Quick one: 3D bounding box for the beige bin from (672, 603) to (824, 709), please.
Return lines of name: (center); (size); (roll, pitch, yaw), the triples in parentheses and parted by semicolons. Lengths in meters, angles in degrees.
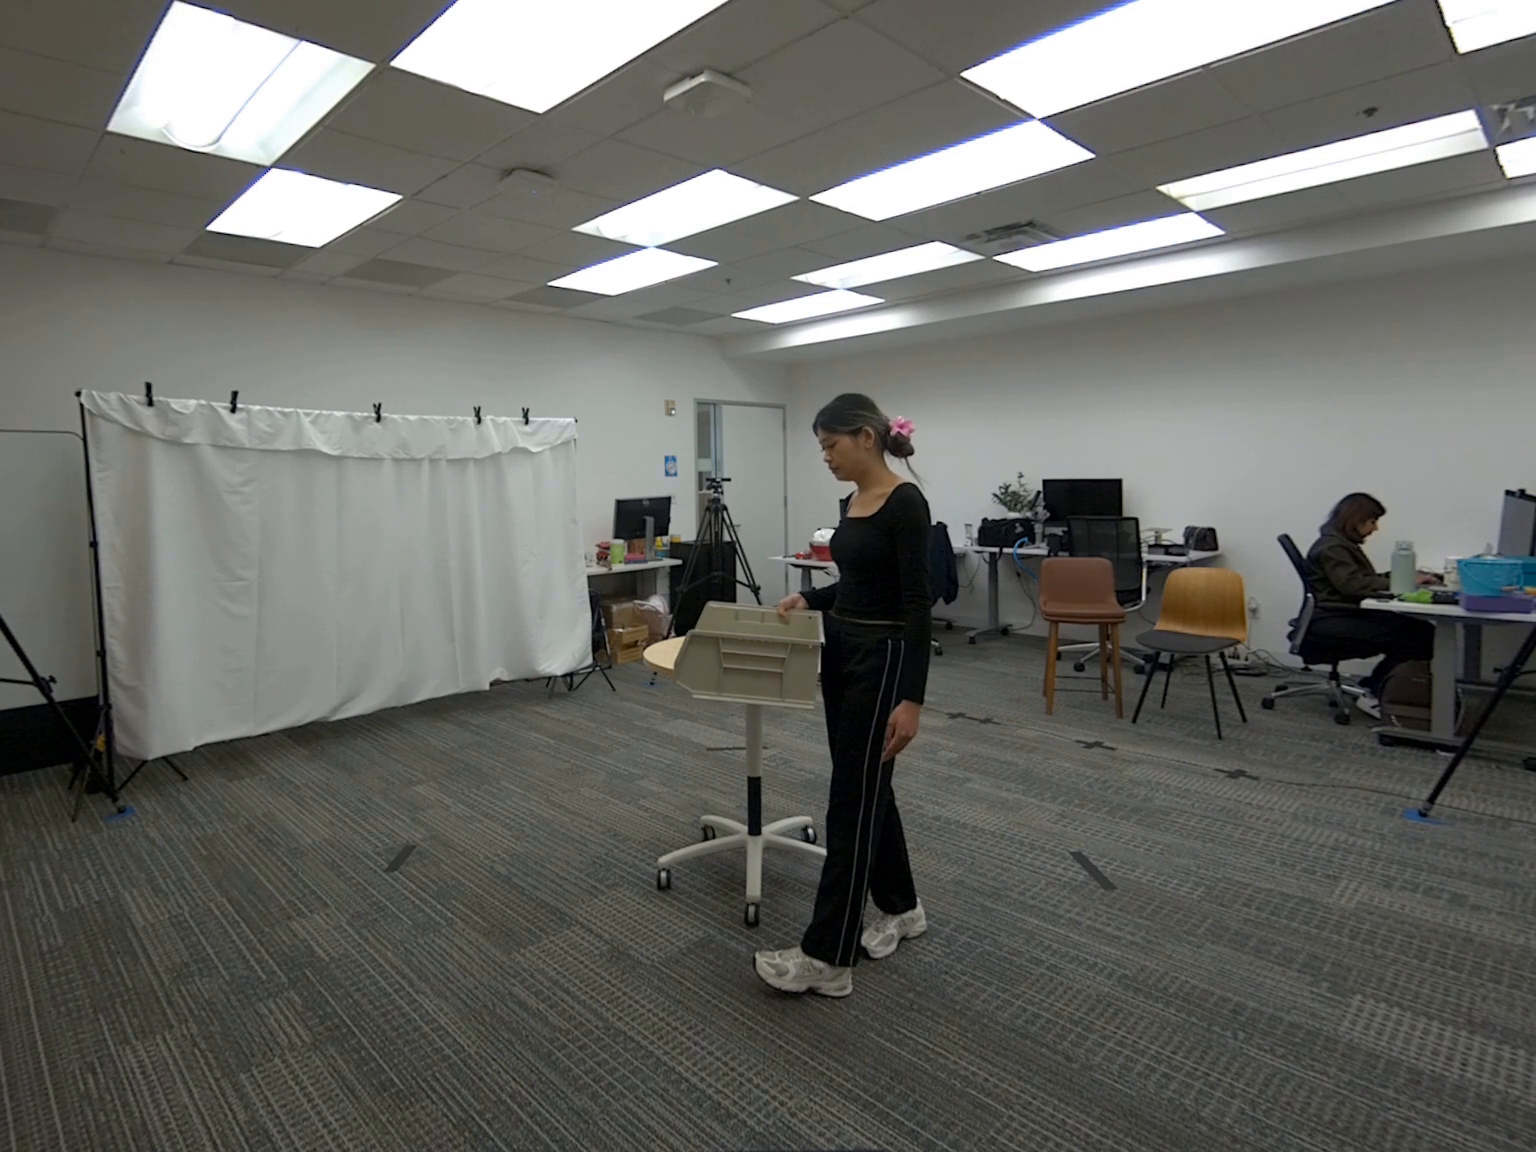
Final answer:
beige bin: (-0.039, 0.215, 2.360); (0.379, 0.188, 0.423); (5, 8, 3)
